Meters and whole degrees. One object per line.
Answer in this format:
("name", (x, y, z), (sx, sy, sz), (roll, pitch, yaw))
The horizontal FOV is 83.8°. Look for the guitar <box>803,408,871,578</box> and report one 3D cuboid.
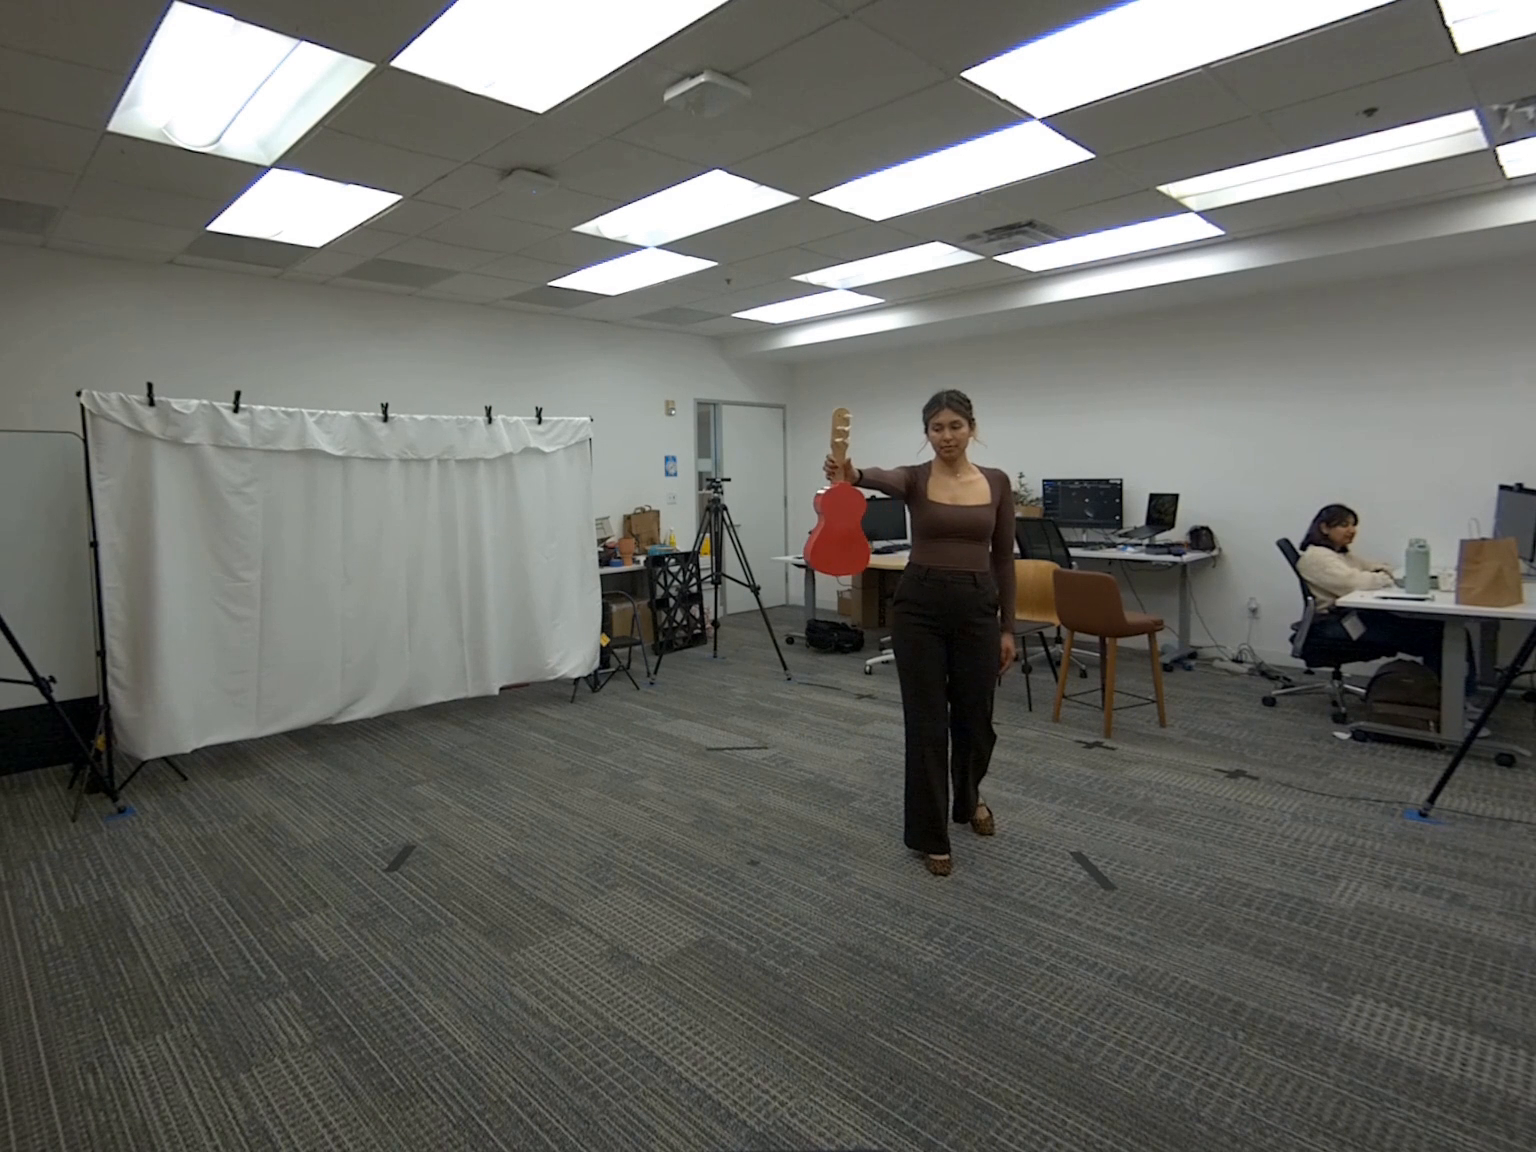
("guitar", (0.189, -0.249, 2.558), (0.191, 0.495, 0.072), (-7, 5, -12))
